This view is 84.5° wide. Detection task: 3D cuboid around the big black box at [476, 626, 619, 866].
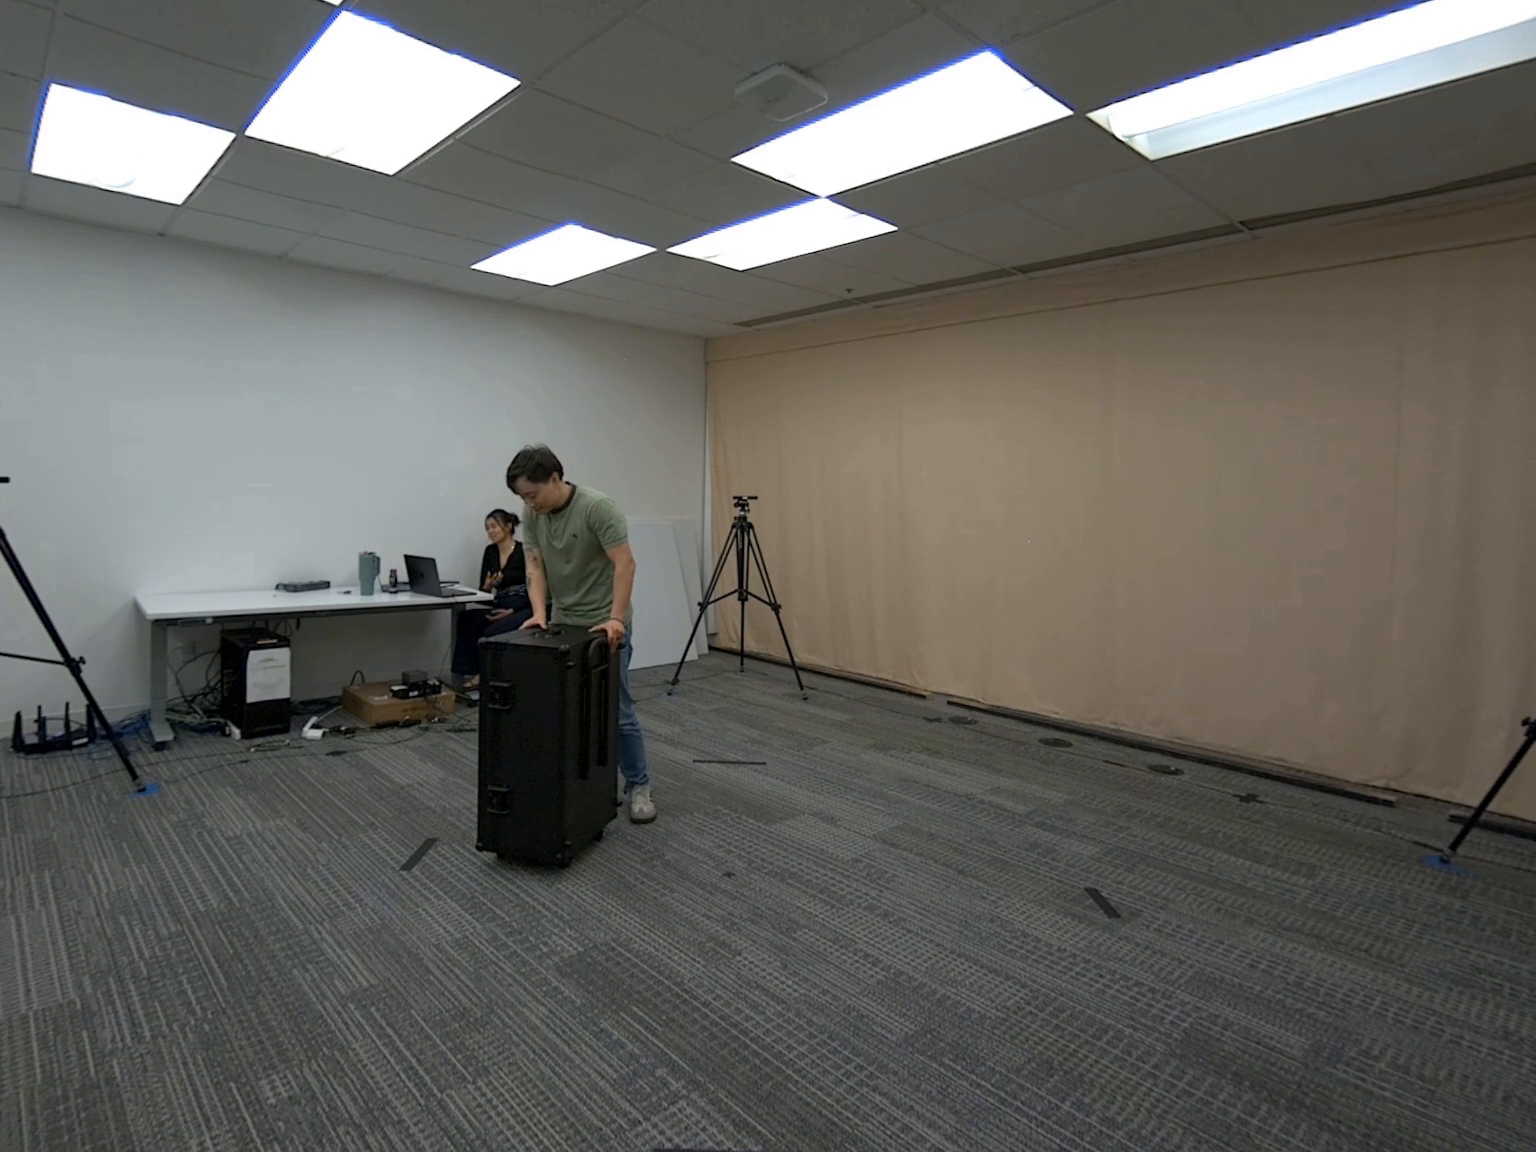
[{"bbox_3d":[-0.836,0.654,3.256,0.401,0.859,0.516,3,4,14],"label":"big black box"}]
